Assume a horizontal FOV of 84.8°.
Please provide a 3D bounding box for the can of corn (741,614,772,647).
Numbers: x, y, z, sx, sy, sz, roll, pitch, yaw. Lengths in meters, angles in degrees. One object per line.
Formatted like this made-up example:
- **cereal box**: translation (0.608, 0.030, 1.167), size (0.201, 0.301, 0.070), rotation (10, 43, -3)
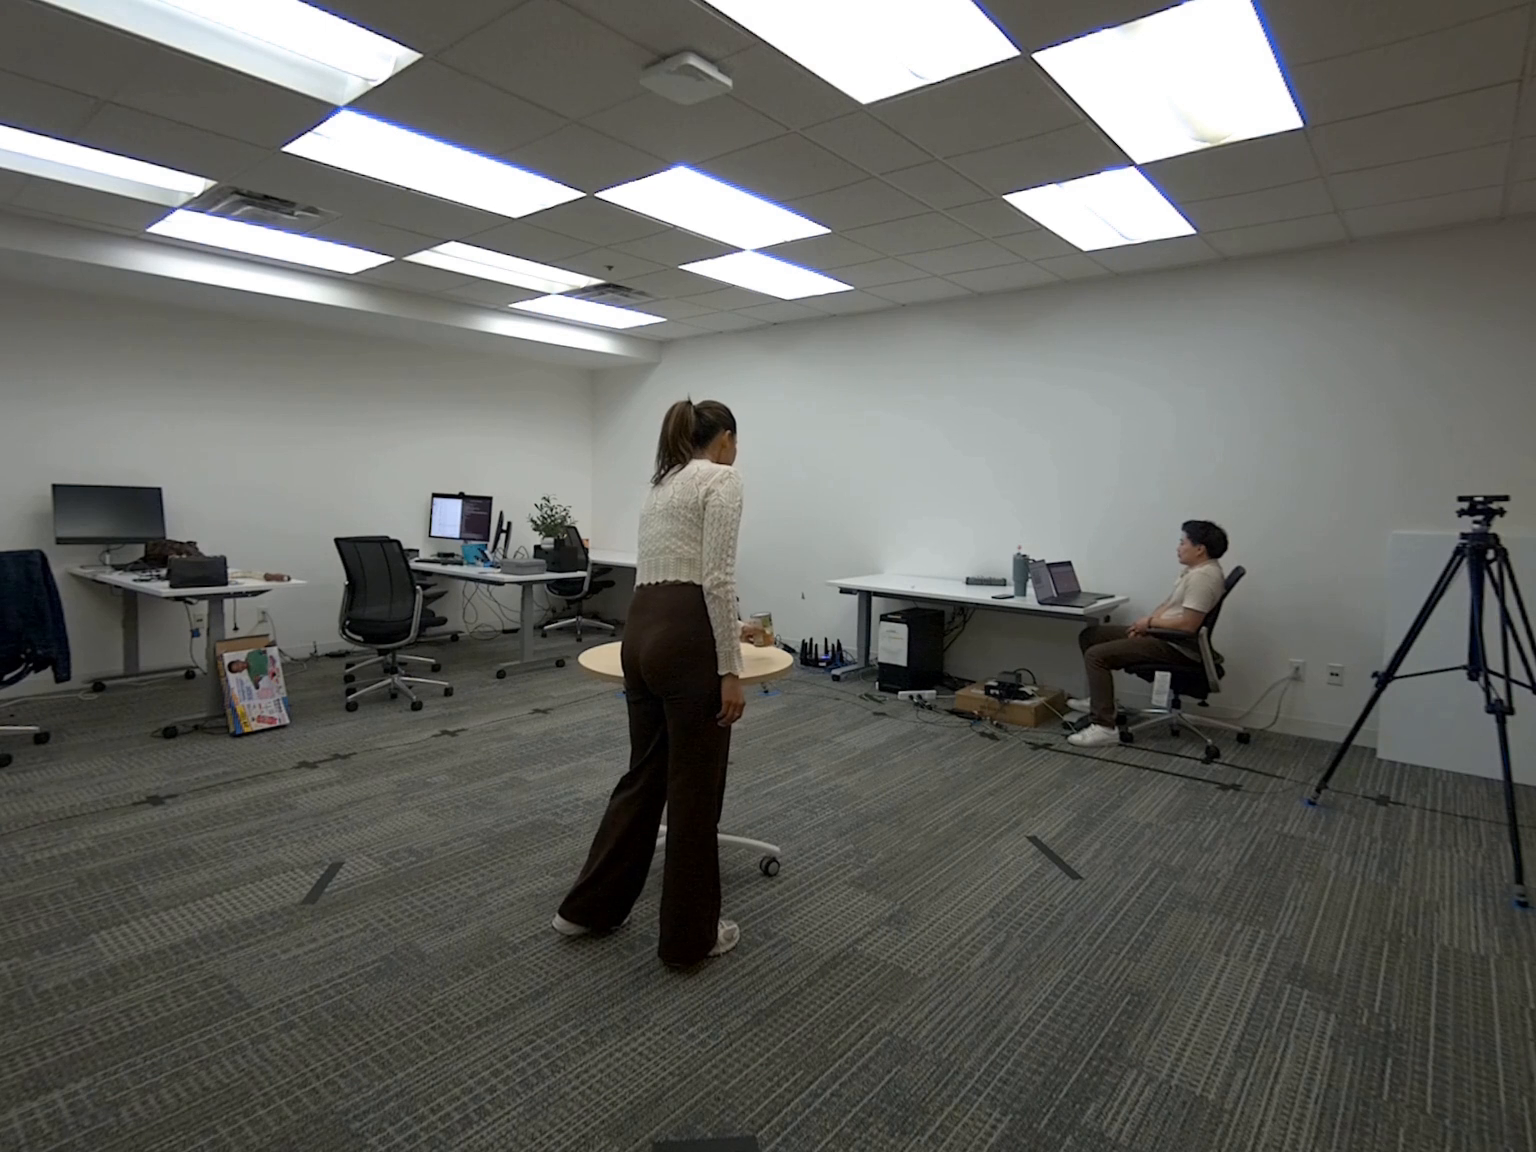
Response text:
- **can of corn**: translation (-0.056, 0.188, 3.044), size (0.074, 0.110, 0.074), rotation (-1, 5, -2)
